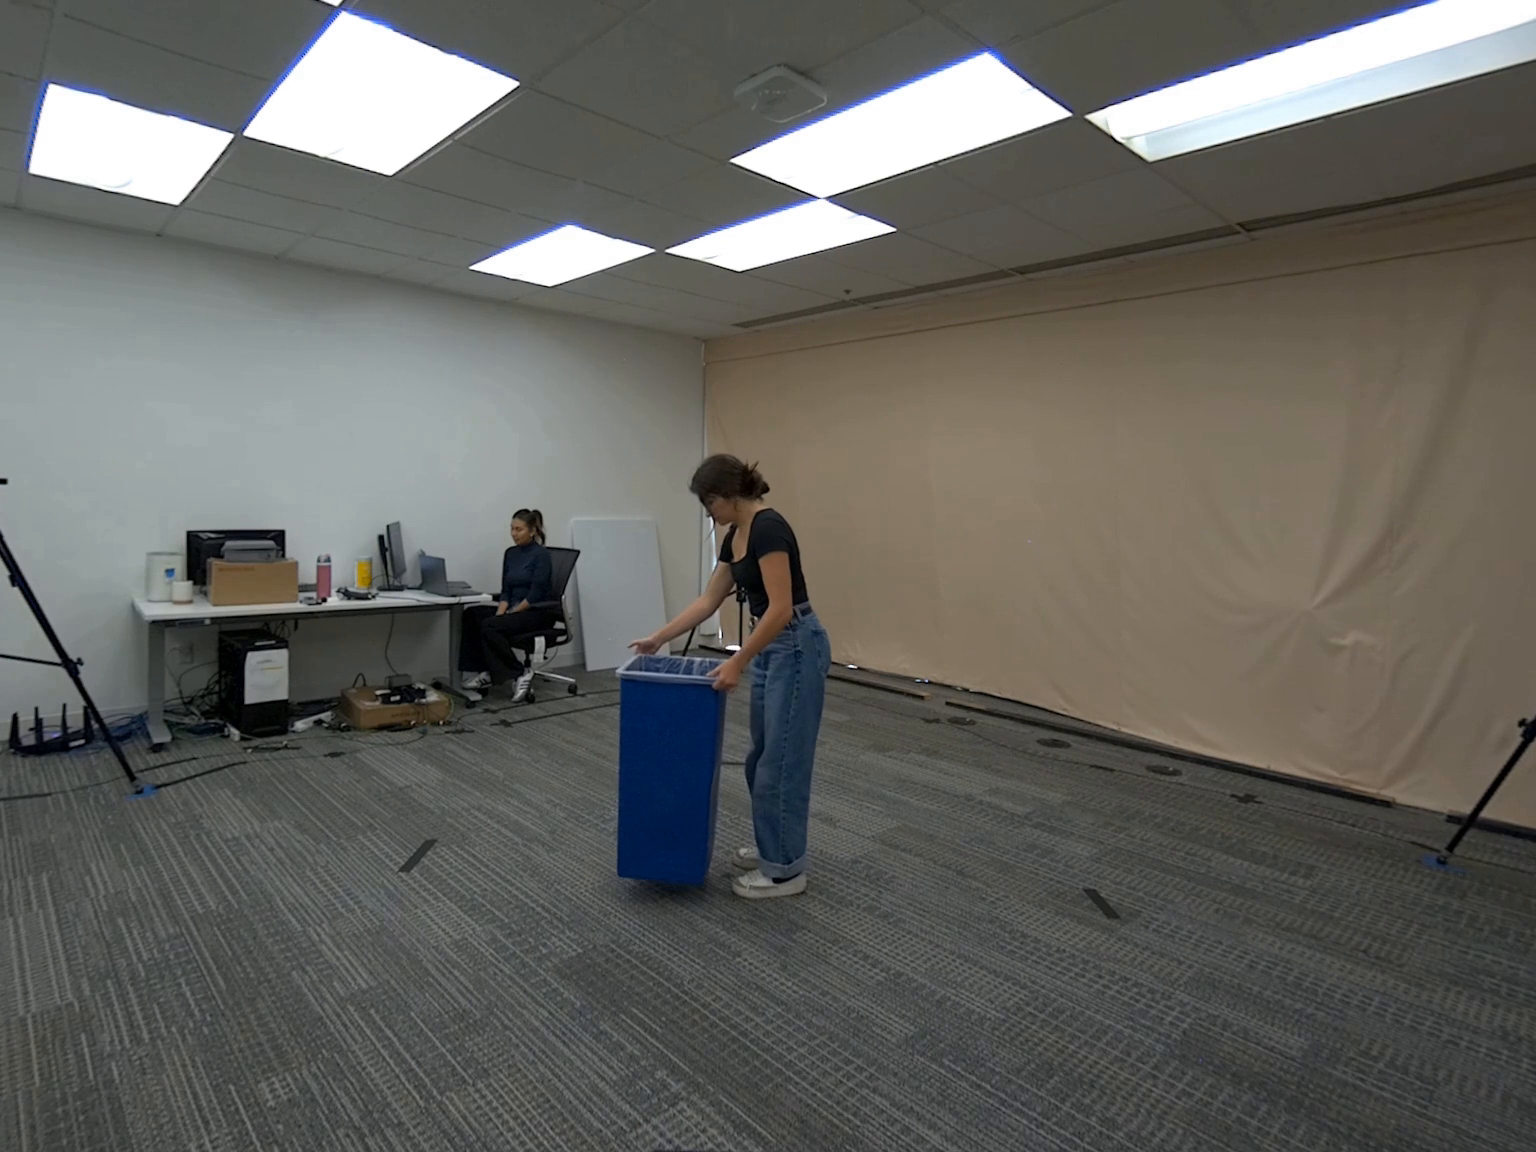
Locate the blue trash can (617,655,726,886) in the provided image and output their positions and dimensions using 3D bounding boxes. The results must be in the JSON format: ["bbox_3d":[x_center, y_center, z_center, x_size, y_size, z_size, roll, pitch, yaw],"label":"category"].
[{"bbox_3d":[-0.344,0.671,2.984,0.379,0.712,0.373,3,2,4],"label":"blue trash can"}]
